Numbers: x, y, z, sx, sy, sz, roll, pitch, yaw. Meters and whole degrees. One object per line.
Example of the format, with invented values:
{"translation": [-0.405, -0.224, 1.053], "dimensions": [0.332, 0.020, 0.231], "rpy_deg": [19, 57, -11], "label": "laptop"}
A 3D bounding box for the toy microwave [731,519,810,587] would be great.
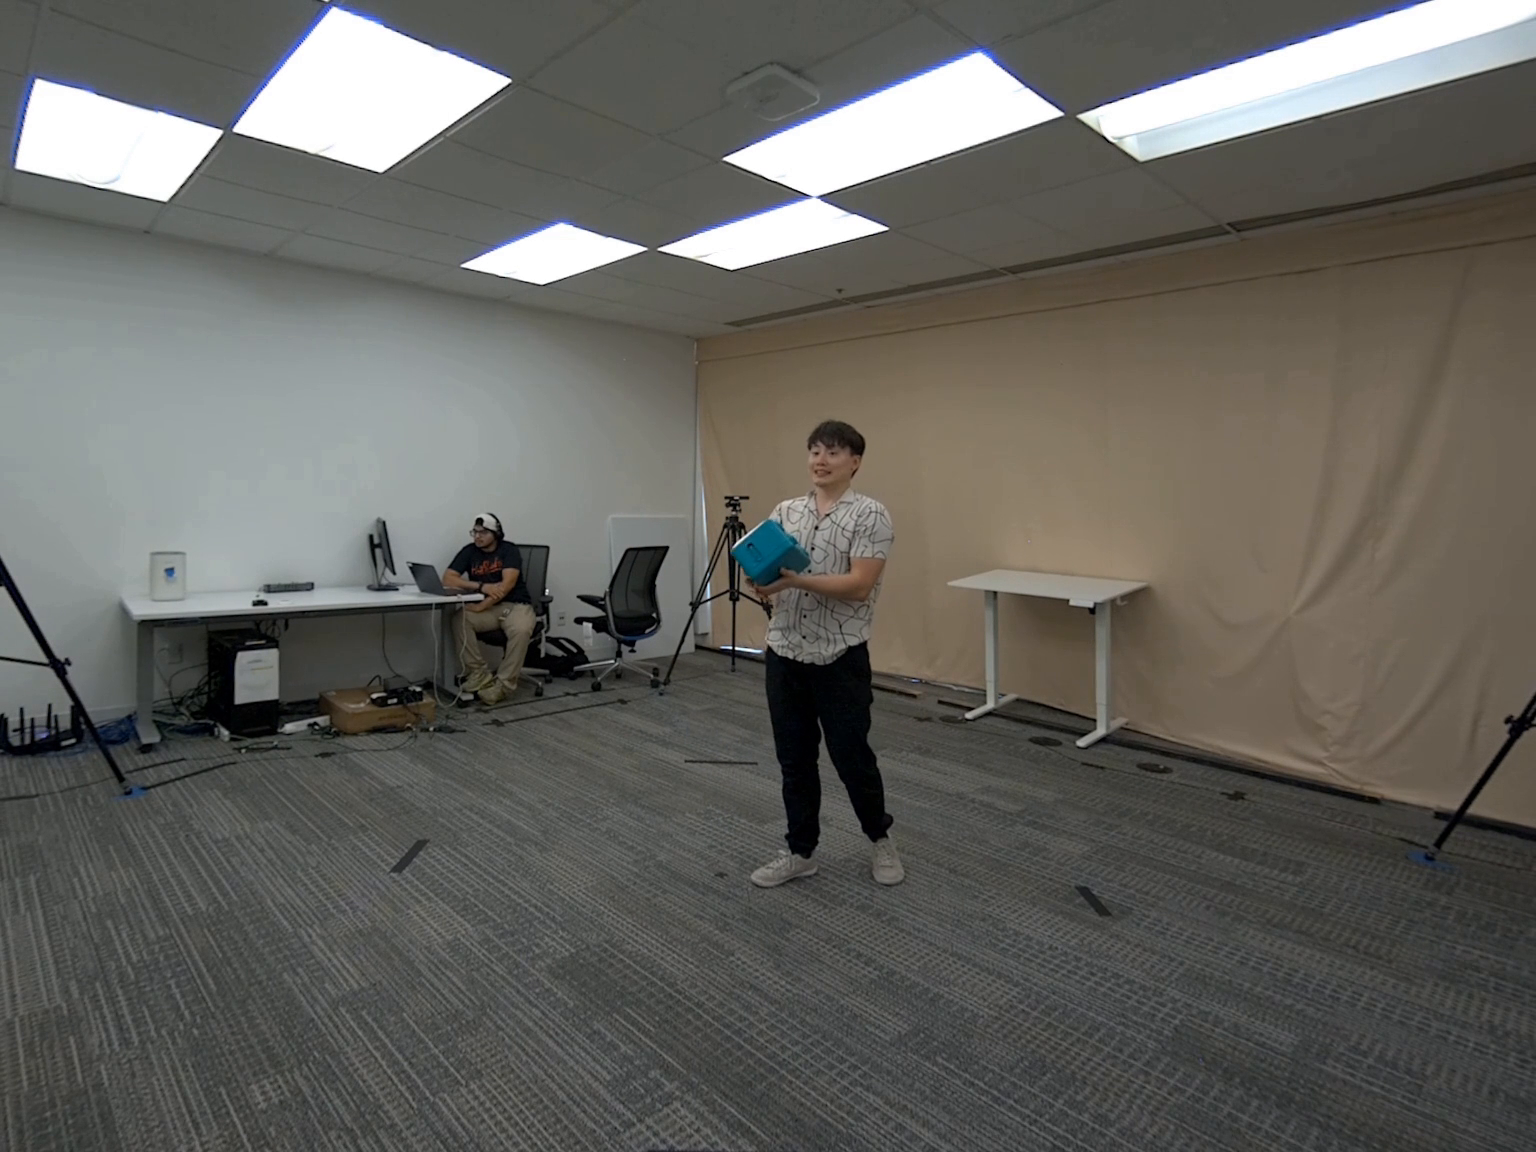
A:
{"translation": [0.008, -0.068, 2.781], "dimensions": [0.184, 0.155, 0.280], "rpy_deg": [-42, -19, 7], "label": "toy microwave"}
